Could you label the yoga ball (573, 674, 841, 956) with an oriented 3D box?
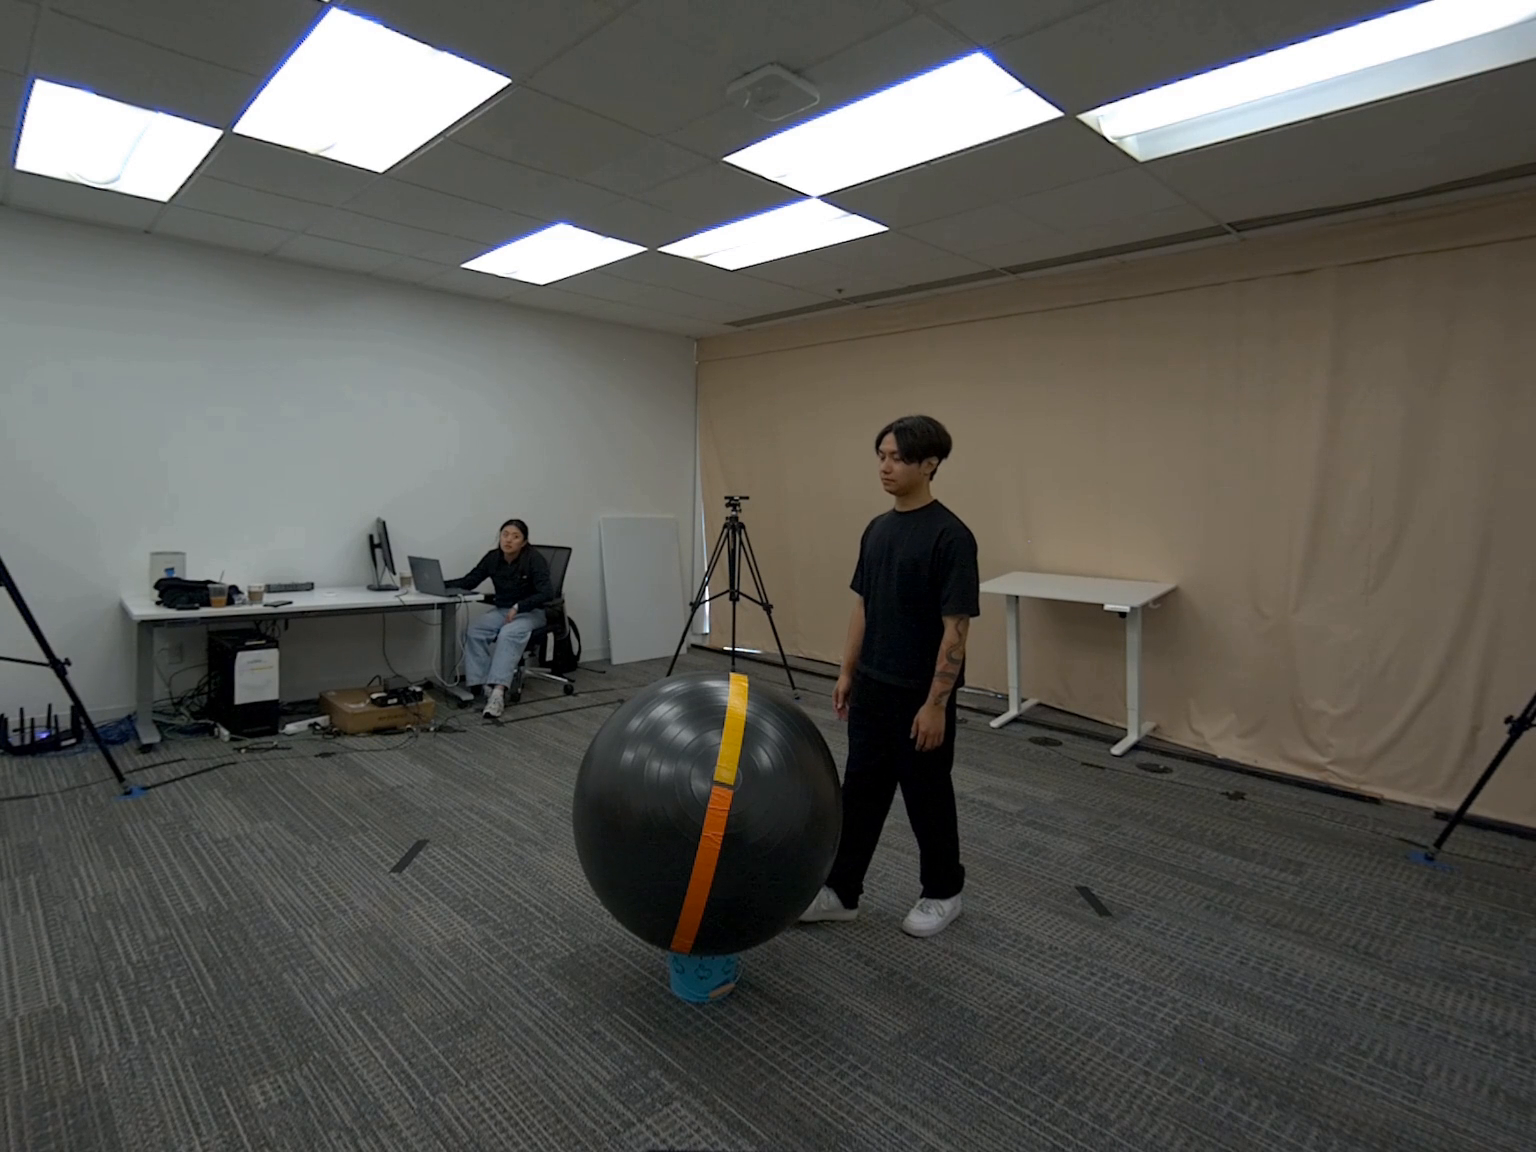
[{"bbox_3d":[-0.173,0.660,2.378,0.757,0.756,0.761,1,4,-1],"label":"yoga ball"}]
